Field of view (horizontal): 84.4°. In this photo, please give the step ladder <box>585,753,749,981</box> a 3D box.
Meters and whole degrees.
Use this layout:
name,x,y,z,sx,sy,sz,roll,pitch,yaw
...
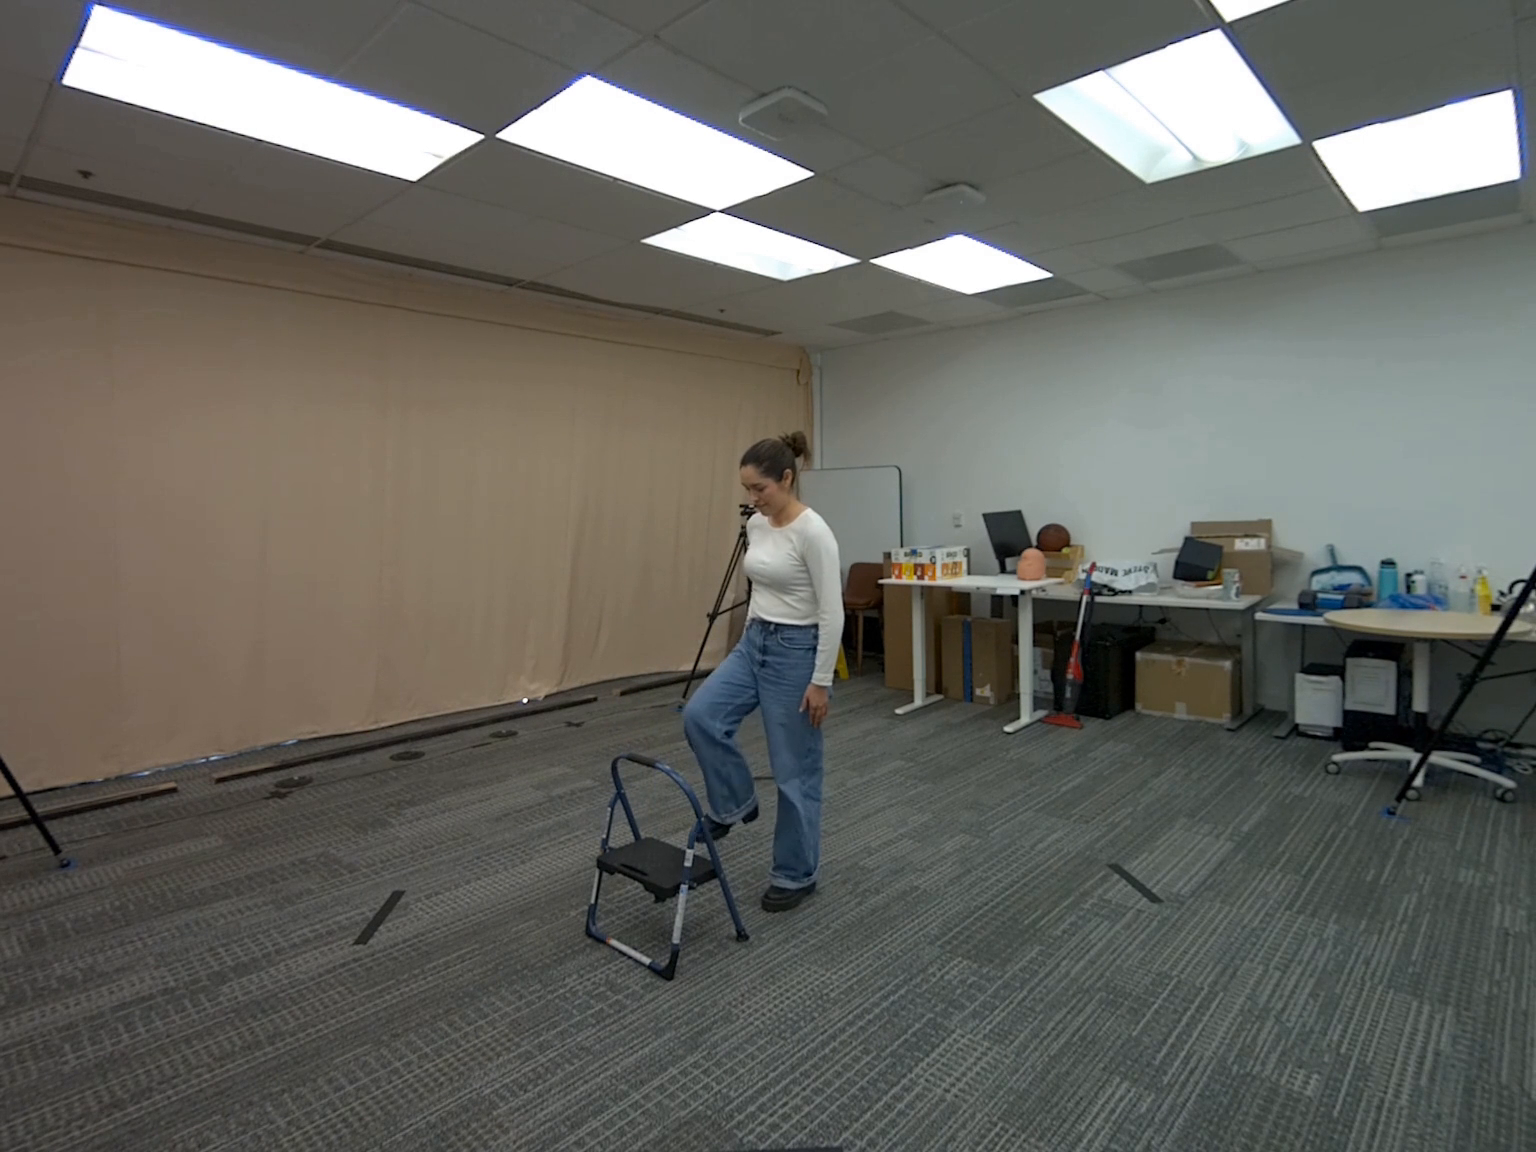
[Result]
name,x,y,z,sx,sy,sz,roll,pitch,yaw
step ladder,-0.334,0.866,2.719,0.445,0.605,0.338,1,3,42
